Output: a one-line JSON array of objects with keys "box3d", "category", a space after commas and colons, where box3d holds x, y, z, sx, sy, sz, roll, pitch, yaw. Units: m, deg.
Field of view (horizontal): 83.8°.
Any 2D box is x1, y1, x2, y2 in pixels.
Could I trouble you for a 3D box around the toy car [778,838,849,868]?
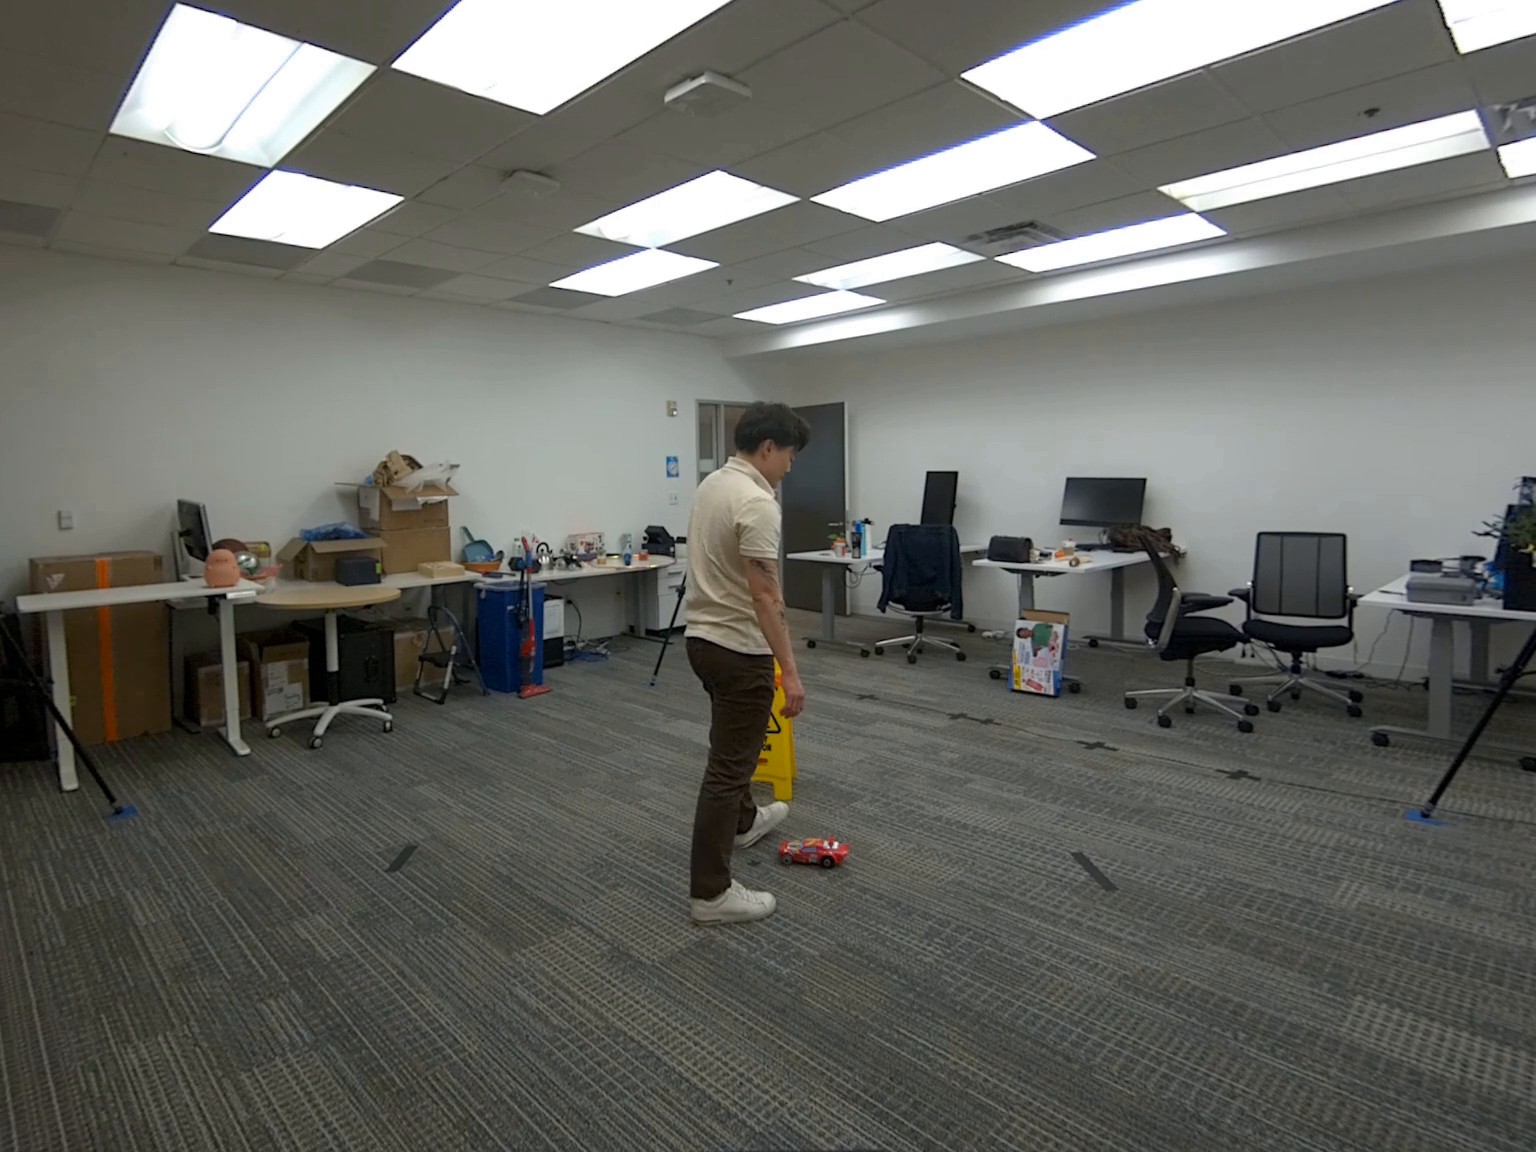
[{"box3d": [0.179, 1.011, 3.107, 0.257, 0.083, 0.129, -11, 2, 13], "category": "toy car"}]
